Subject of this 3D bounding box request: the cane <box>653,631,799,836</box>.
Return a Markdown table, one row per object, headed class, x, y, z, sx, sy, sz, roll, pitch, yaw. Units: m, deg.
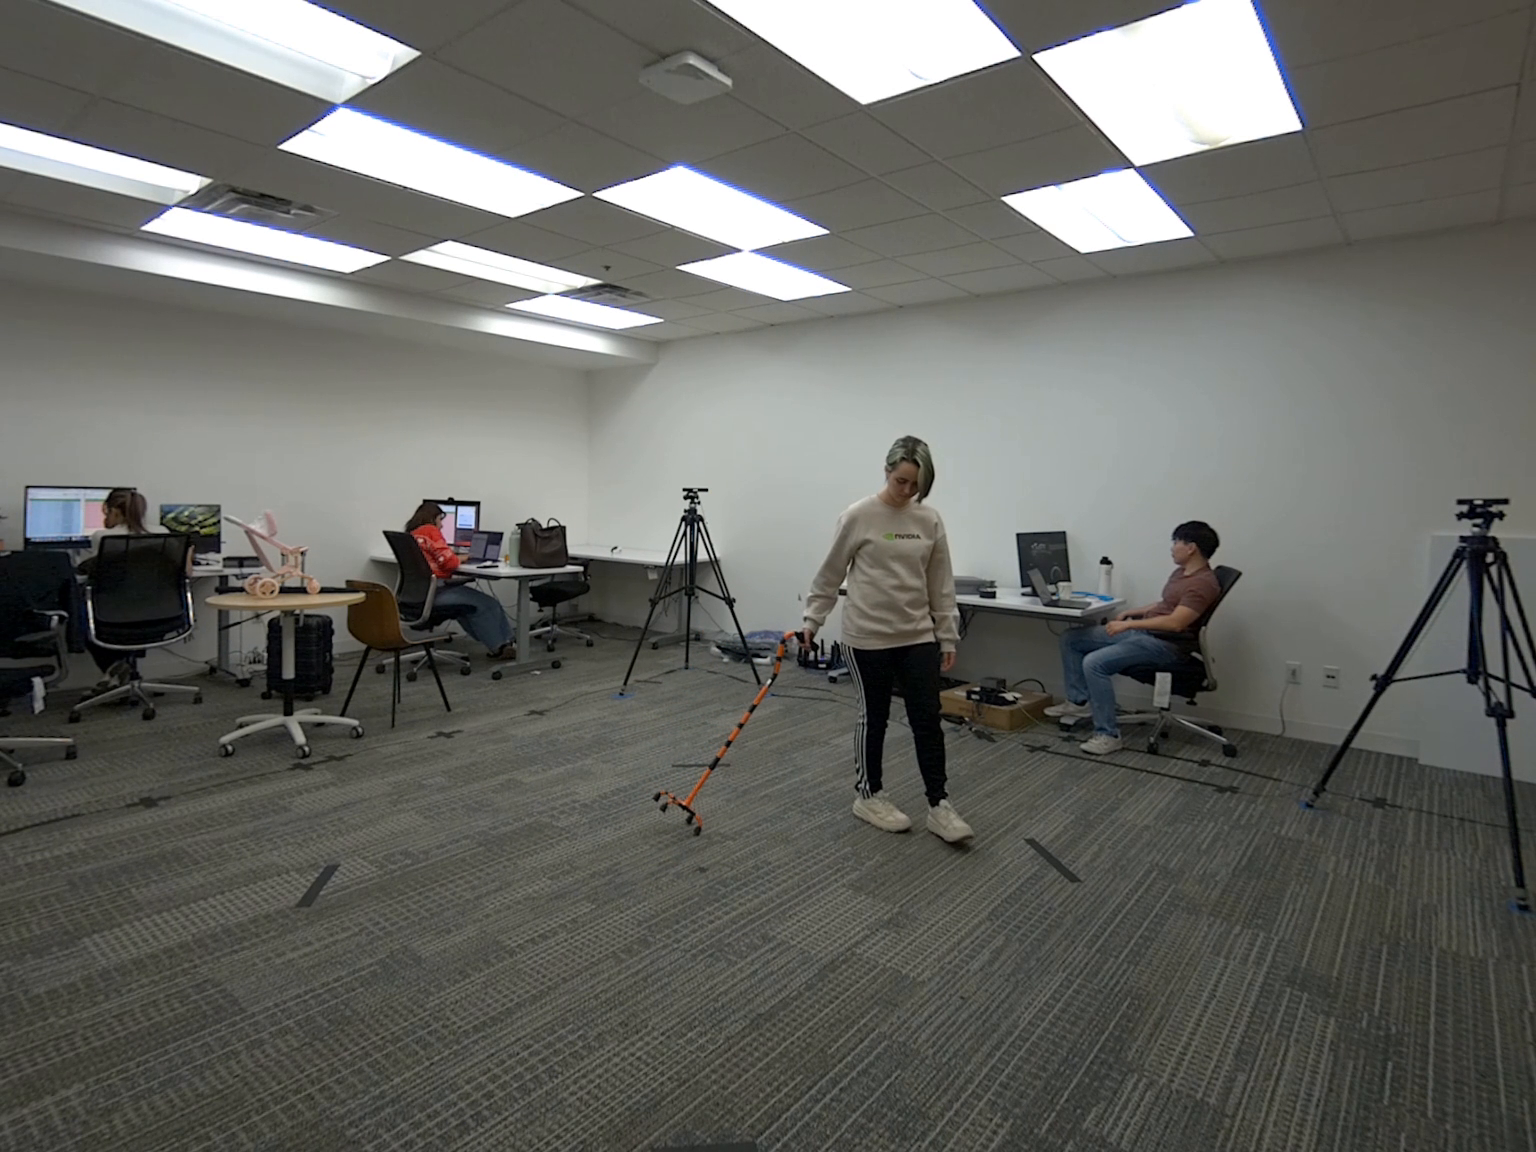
| class | x | y | z | sx | sy | sz | roll | pitch | yaw |
| --- | --- | --- | --- | --- | --- | --- | --- | --- | --- |
| cane | -0.120 | 0.623 | 3.520 | 0.202 | 0.909 | 0.155 | 40 | -9 | -17 |
